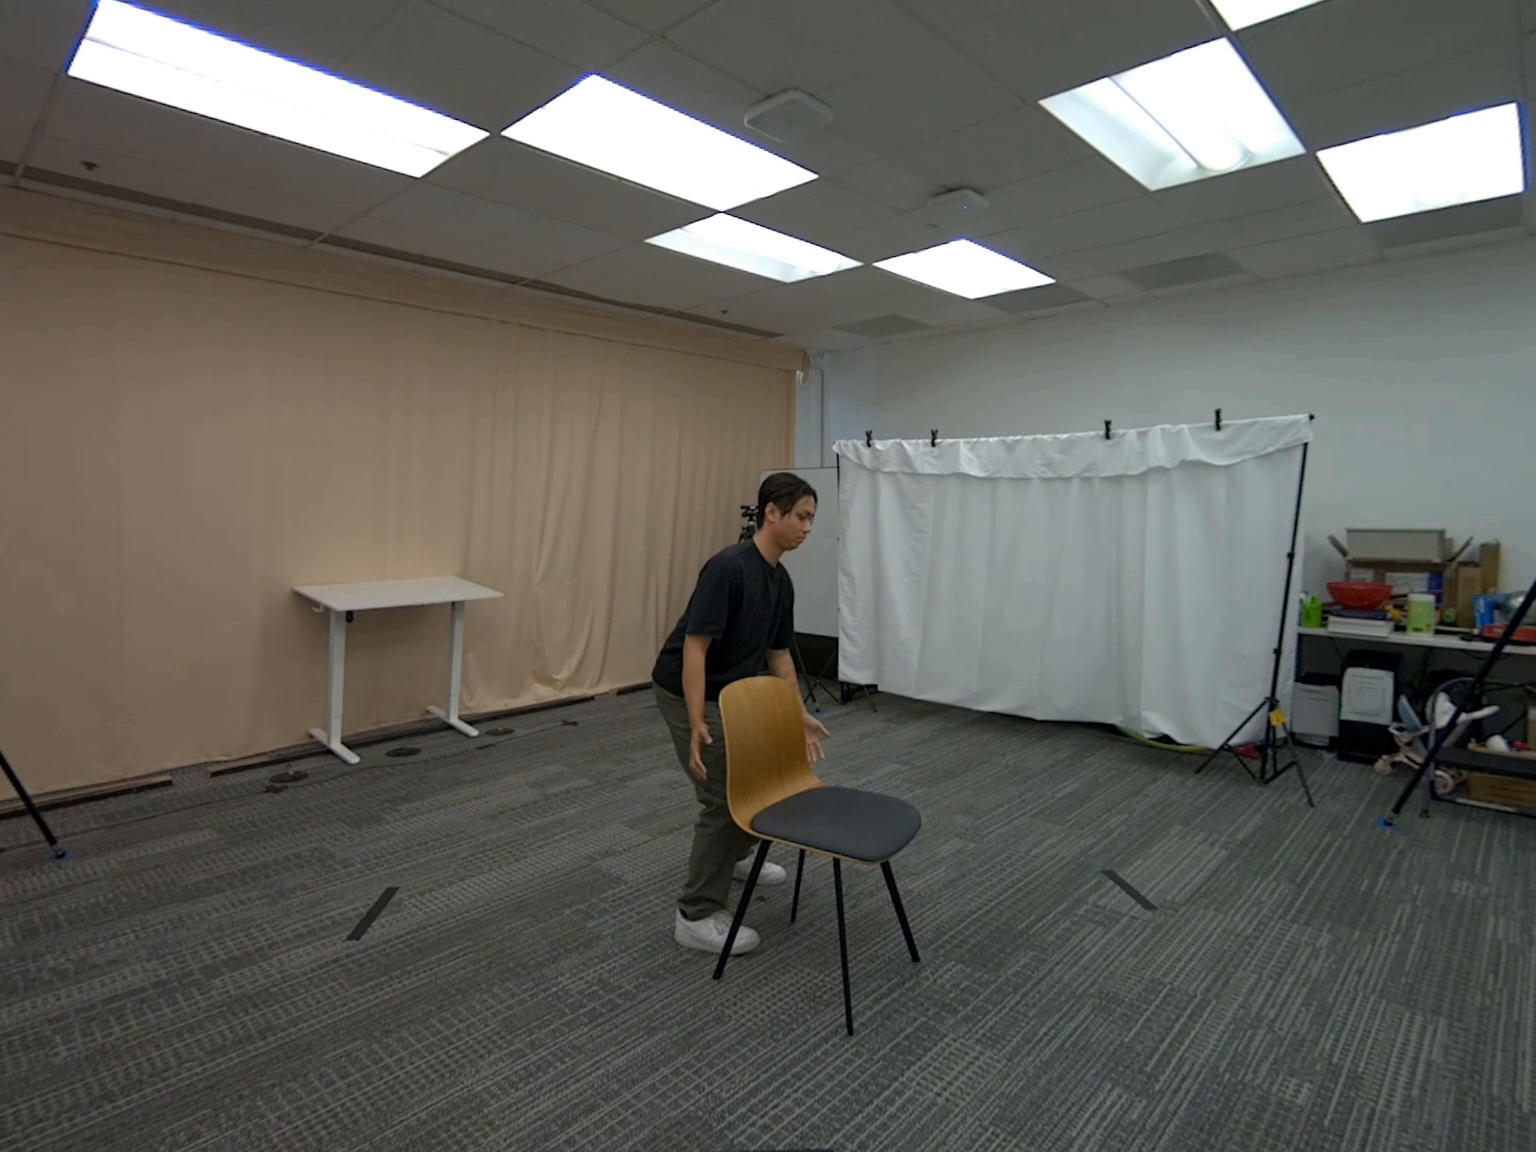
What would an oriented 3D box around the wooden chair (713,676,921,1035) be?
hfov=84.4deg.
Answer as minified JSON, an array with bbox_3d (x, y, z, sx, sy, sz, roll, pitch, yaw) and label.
[{"bbox_3d":[0.160,0.756,2.489,0.538,0.877,0.464,-4,0,34],"label":"wooden chair"}]
